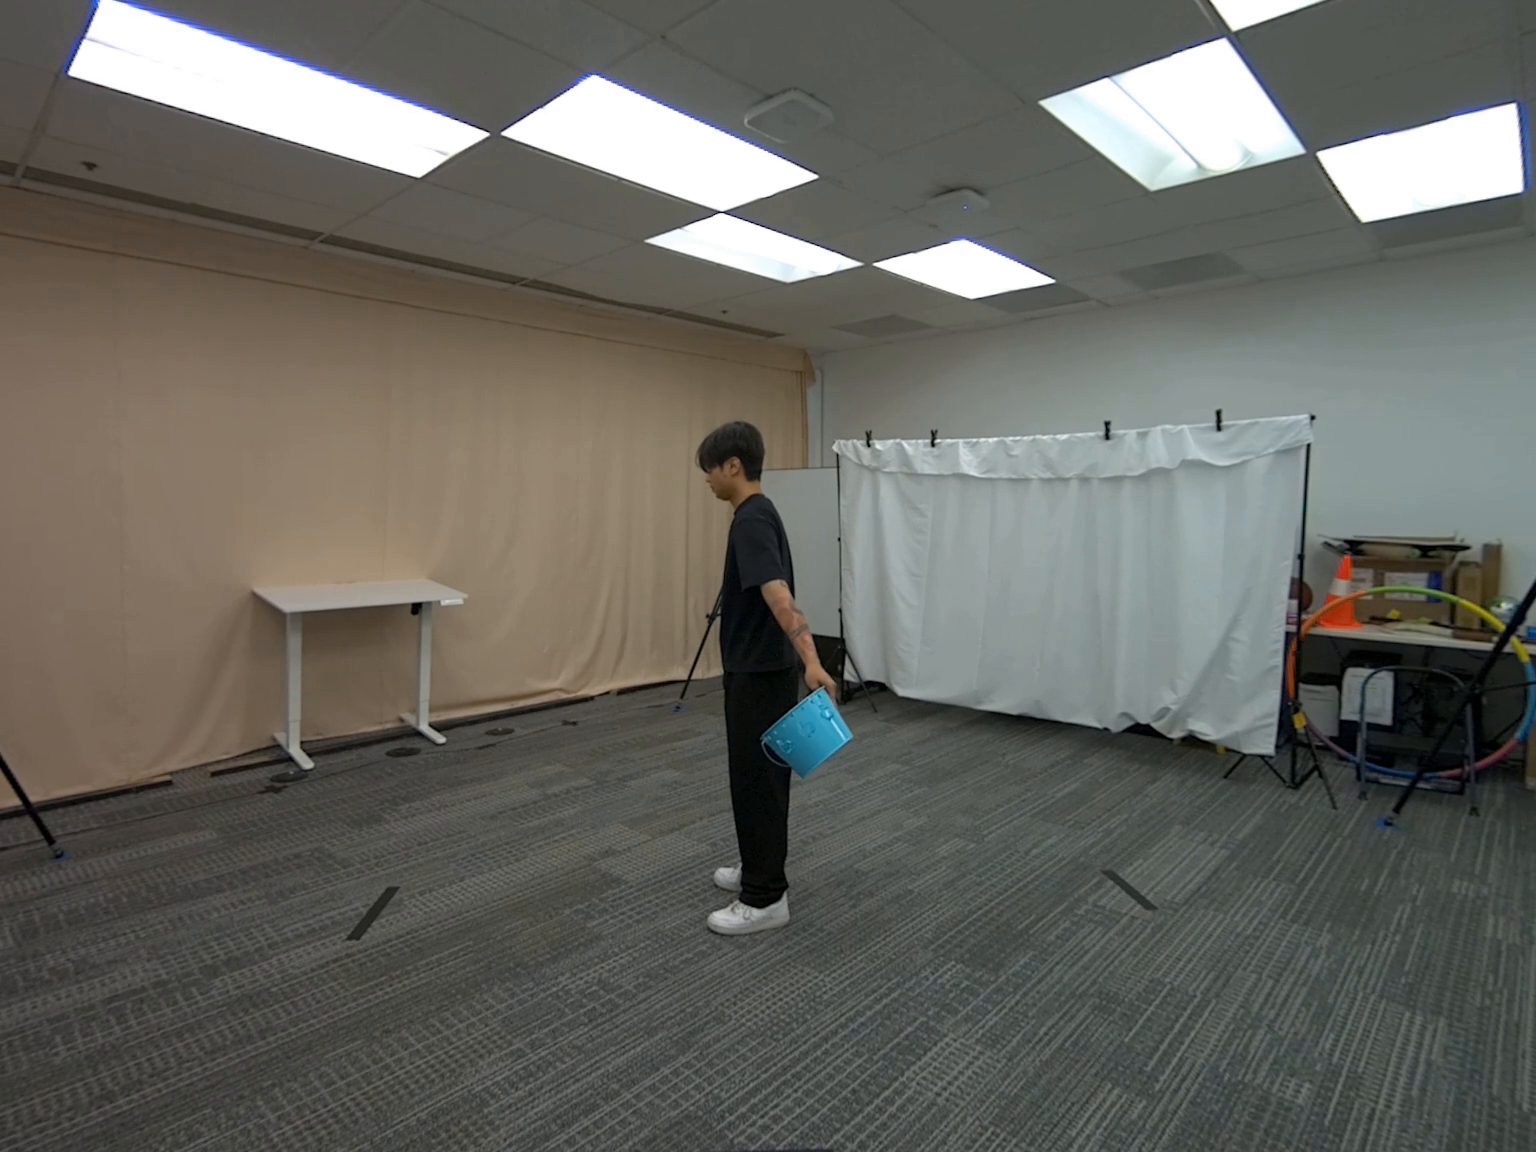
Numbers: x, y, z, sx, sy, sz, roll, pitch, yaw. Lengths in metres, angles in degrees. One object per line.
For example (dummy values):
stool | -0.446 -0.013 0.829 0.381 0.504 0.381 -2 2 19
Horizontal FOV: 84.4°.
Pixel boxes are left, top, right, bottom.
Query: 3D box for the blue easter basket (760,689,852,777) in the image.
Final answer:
blue easter basket | 0.111 0.438 2.313 0.242 0.158 0.241 -36 -12 -12
